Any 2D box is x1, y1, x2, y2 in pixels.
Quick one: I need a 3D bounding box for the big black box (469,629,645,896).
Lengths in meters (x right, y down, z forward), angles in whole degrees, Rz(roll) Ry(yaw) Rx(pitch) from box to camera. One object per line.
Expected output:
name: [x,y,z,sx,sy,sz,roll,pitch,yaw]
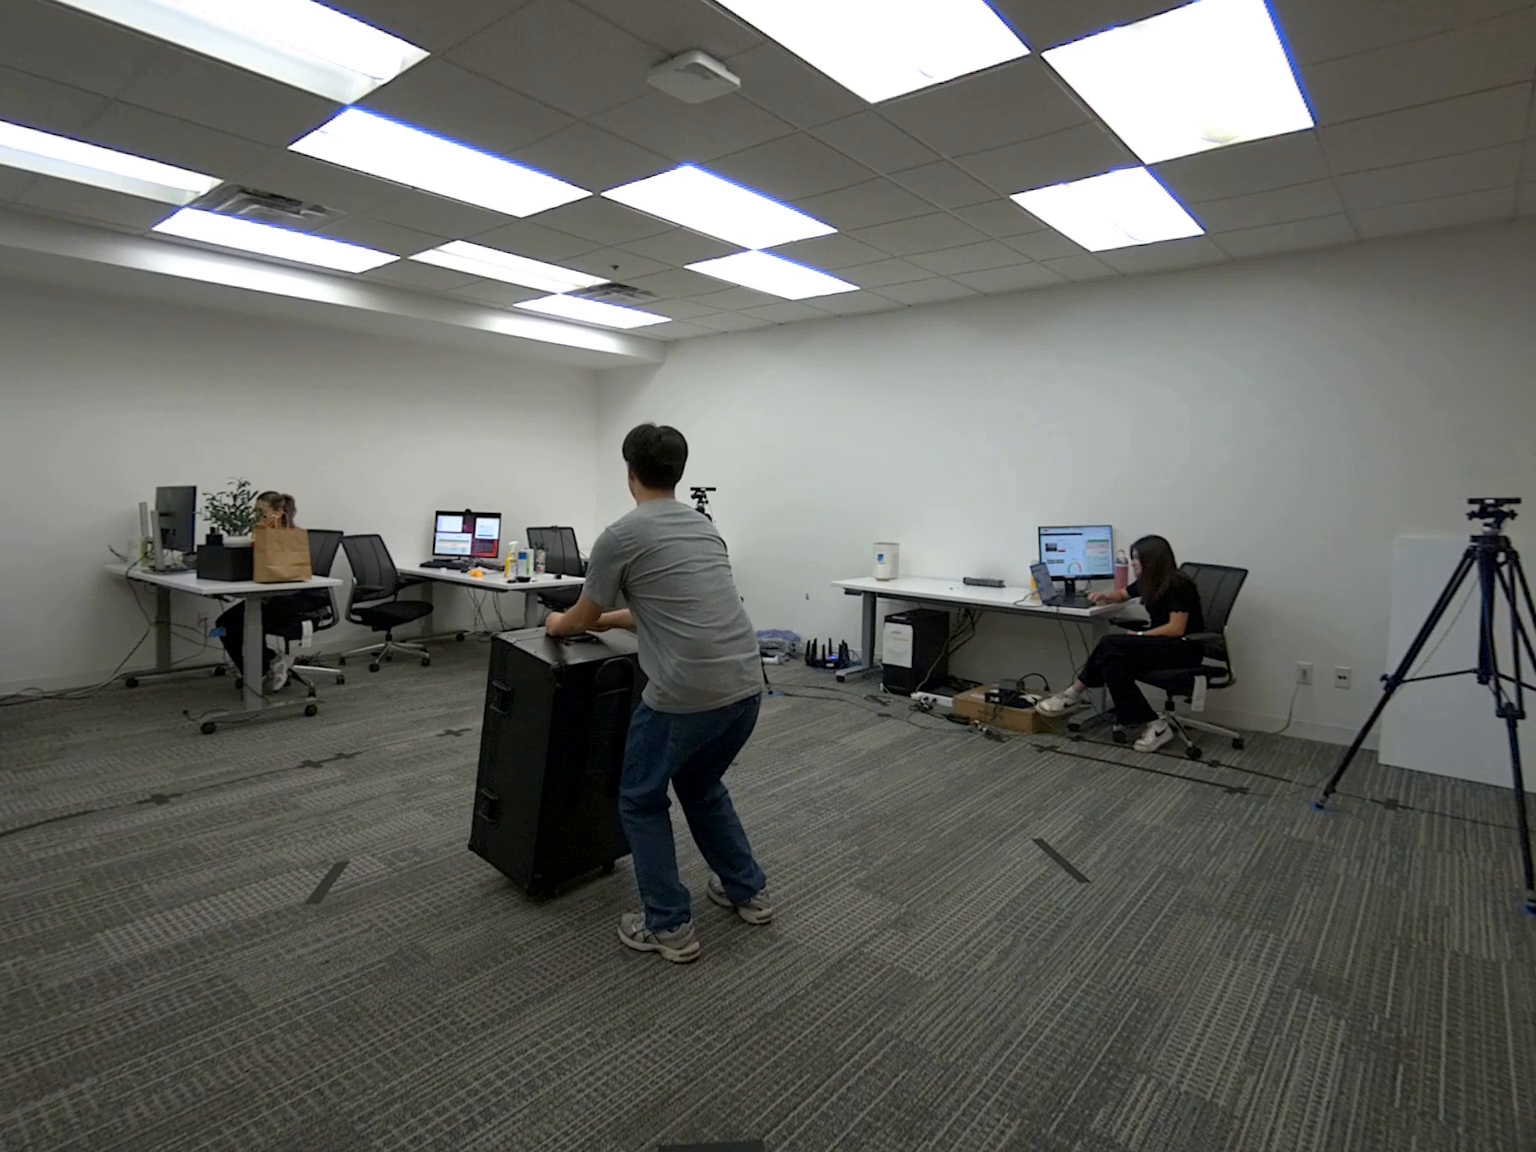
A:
big black box: [-0.705,0.633,2.968,0.411,0.855,0.506,16,12,37]
